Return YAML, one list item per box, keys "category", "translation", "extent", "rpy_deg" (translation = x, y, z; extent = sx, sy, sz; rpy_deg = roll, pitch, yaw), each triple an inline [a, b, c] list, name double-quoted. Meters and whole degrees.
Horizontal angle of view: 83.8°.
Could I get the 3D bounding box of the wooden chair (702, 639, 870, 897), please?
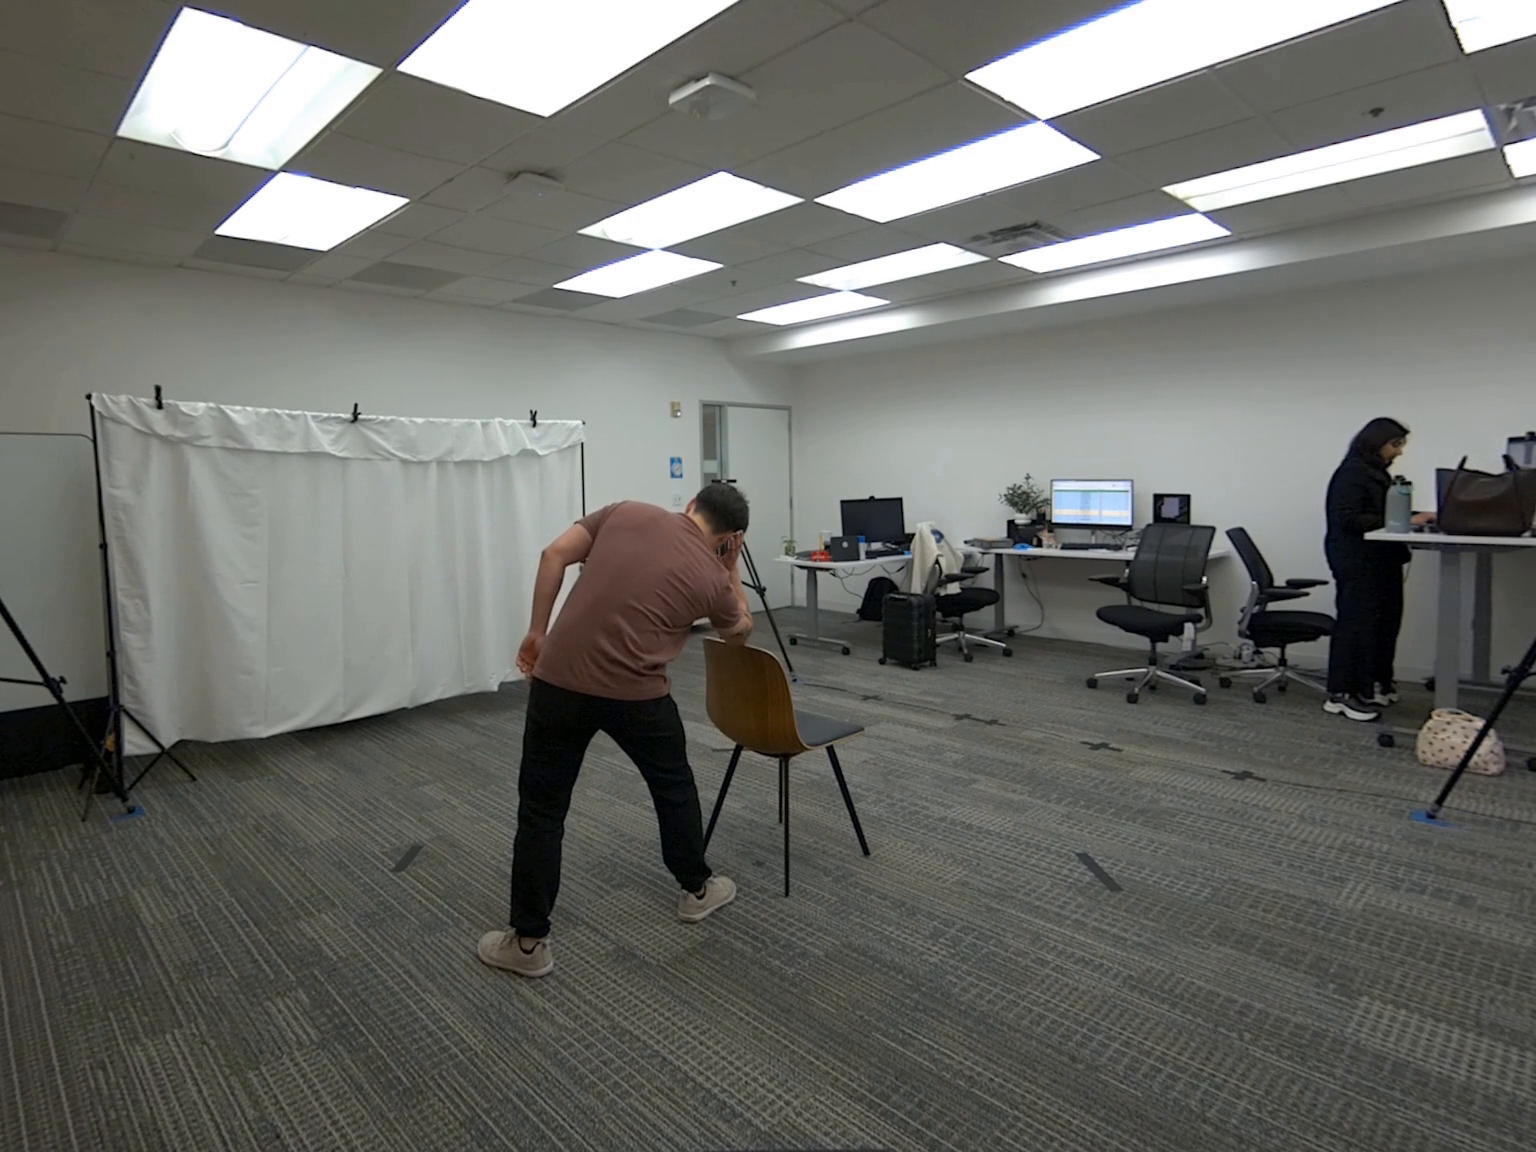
- category: "wooden chair"
  translation: [0.059, 0.613, 3.146]
  extent: [0.511, 0.871, 0.493]
  rpy_deg: [-11, 10, -44]
